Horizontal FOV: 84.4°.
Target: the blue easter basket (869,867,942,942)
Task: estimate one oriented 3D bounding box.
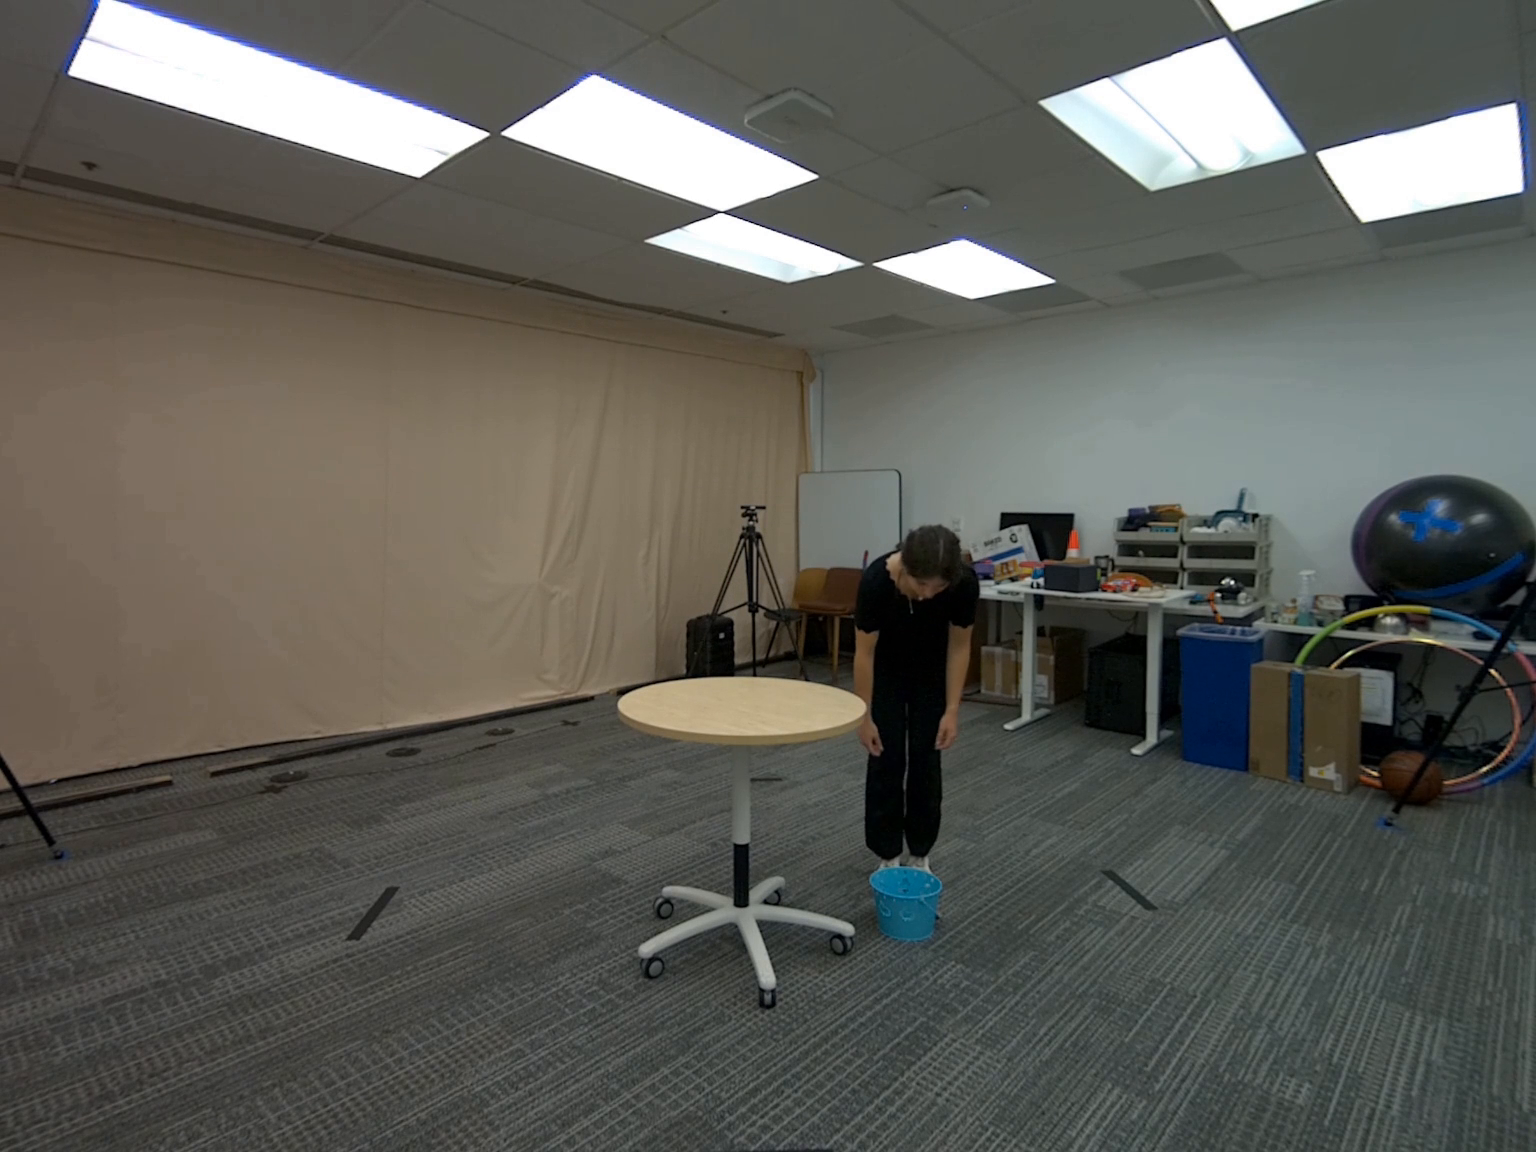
[{"bbox_3d":[0.446,1.081,2.774,0.243,0.155,0.244,0,5,-2],"label":"blue easter basket"}]
